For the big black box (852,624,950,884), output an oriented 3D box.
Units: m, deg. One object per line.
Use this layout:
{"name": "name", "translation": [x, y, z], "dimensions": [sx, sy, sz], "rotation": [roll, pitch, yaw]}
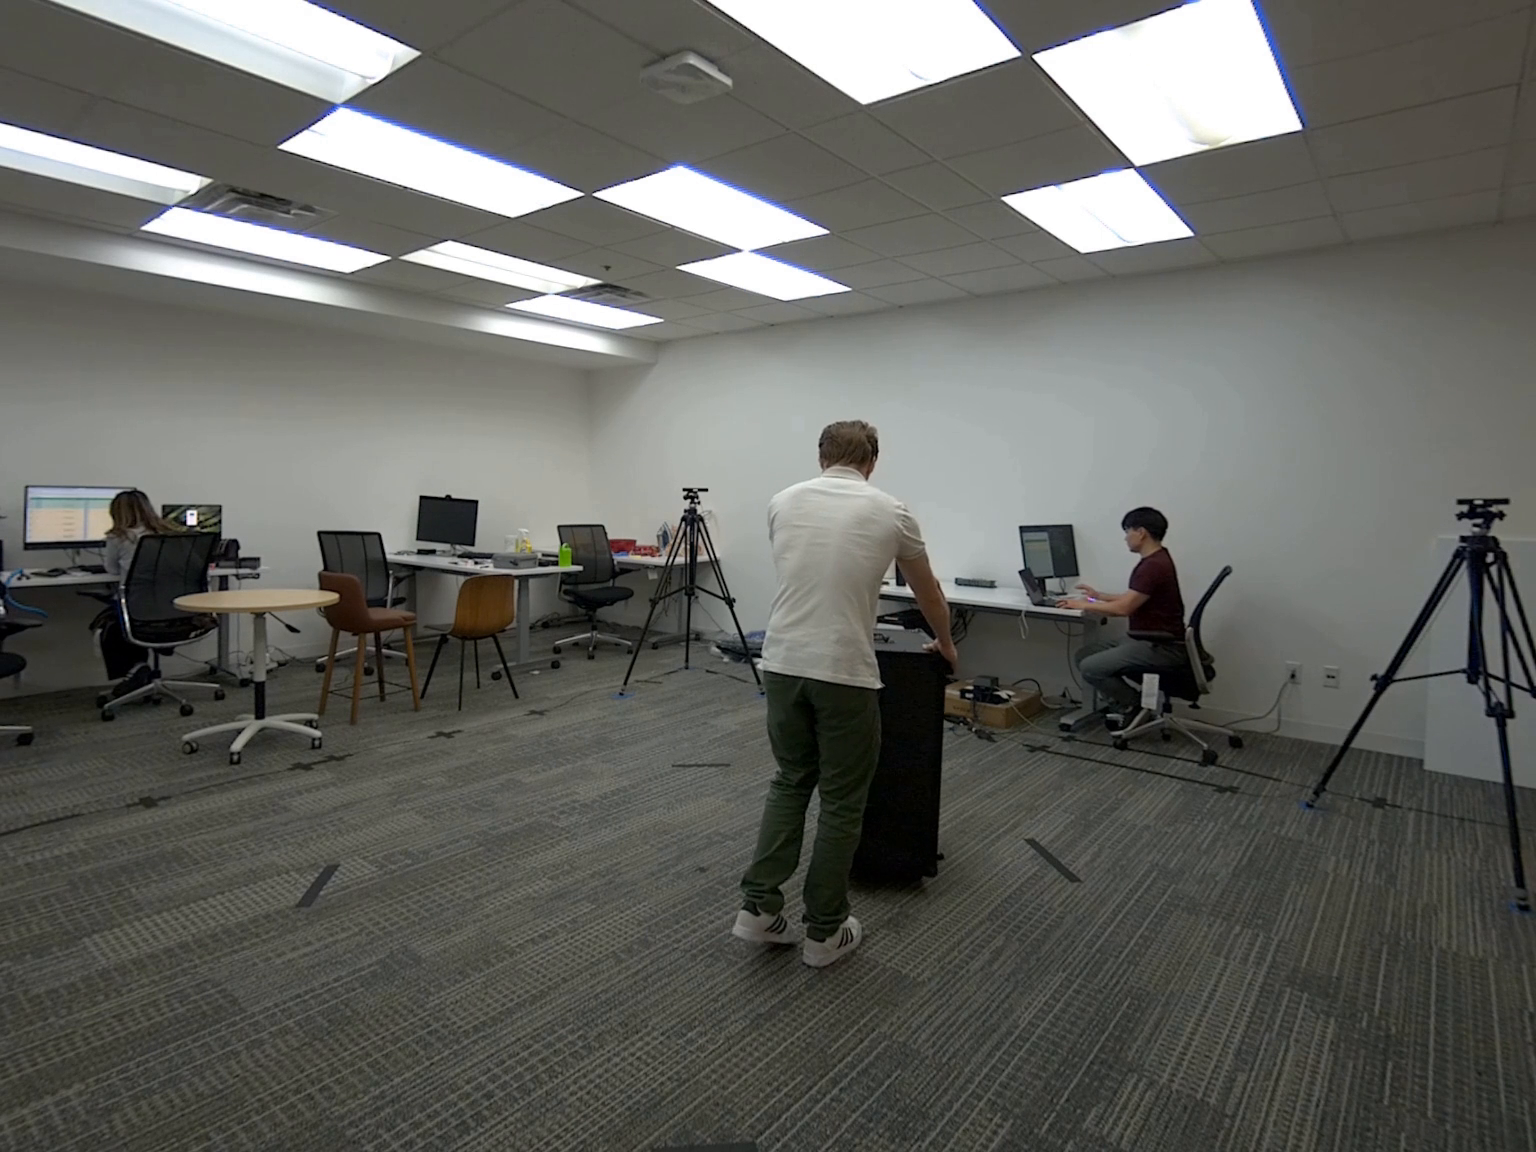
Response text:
{"name": "big black box", "translation": [0.407, 0.655, 3.160], "dimensions": [0.385, 0.865, 0.526], "rotation": [2, 5, -1]}
